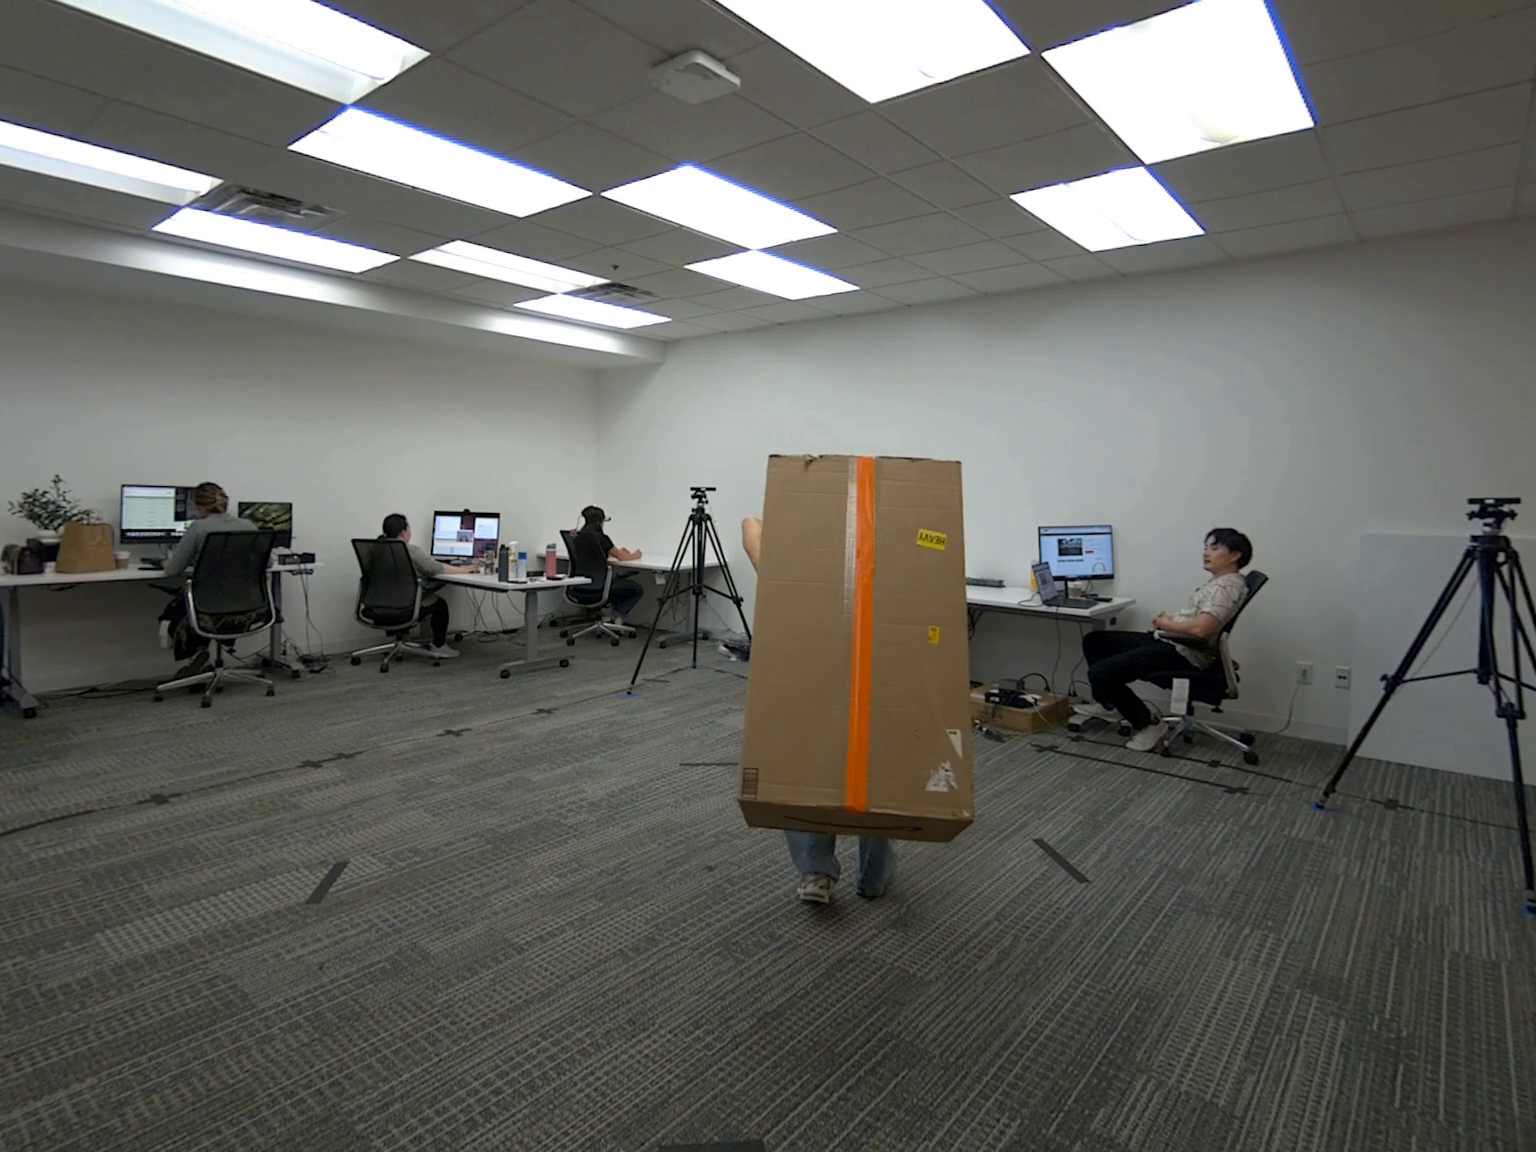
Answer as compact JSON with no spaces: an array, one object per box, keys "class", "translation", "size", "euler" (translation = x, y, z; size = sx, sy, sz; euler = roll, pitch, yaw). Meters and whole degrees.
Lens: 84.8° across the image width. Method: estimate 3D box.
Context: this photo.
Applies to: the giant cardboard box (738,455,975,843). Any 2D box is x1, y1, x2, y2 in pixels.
[{"class":"giant cardboard box","translation":[0.244,0.194,2.482],"size":[0.582,1.047,0.414],"euler":[3,-26,6]}]
